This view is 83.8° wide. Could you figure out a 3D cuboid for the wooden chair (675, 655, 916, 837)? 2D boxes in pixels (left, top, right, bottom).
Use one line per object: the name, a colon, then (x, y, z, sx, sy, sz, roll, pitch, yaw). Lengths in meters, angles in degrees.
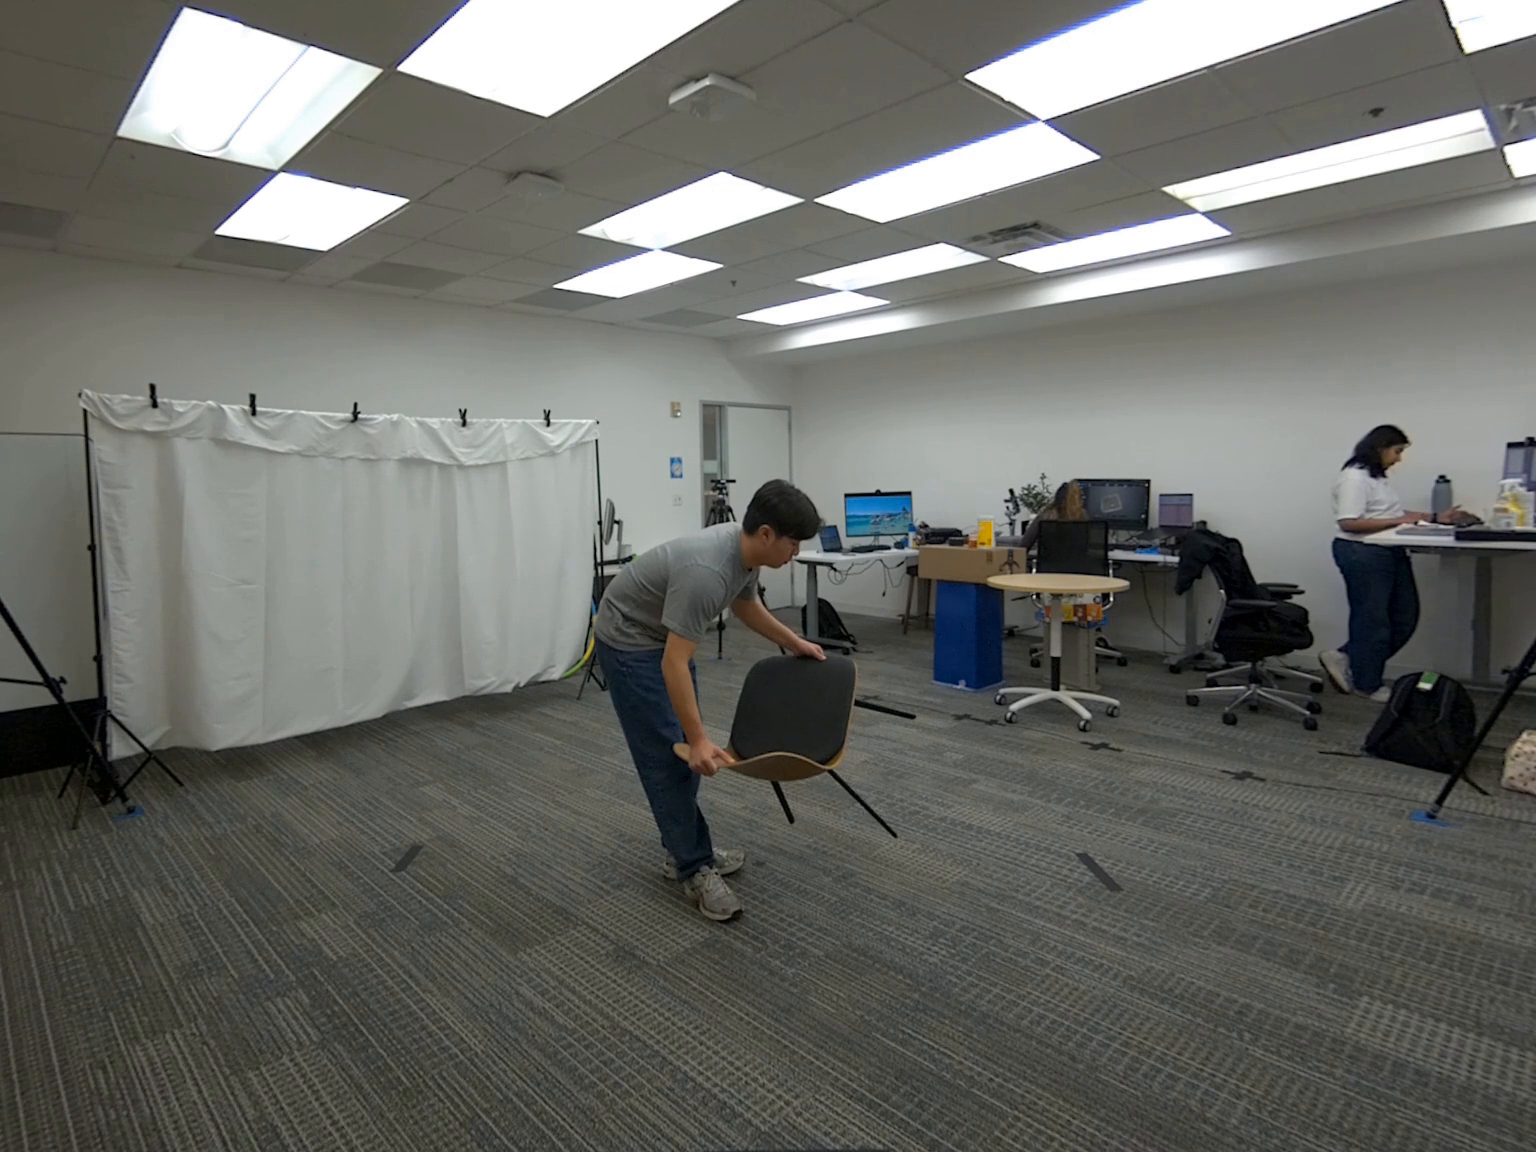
wooden chair: (0.100, 0.531, 2.962, 0.490, 0.531, 0.843, -6, -29, 36)
